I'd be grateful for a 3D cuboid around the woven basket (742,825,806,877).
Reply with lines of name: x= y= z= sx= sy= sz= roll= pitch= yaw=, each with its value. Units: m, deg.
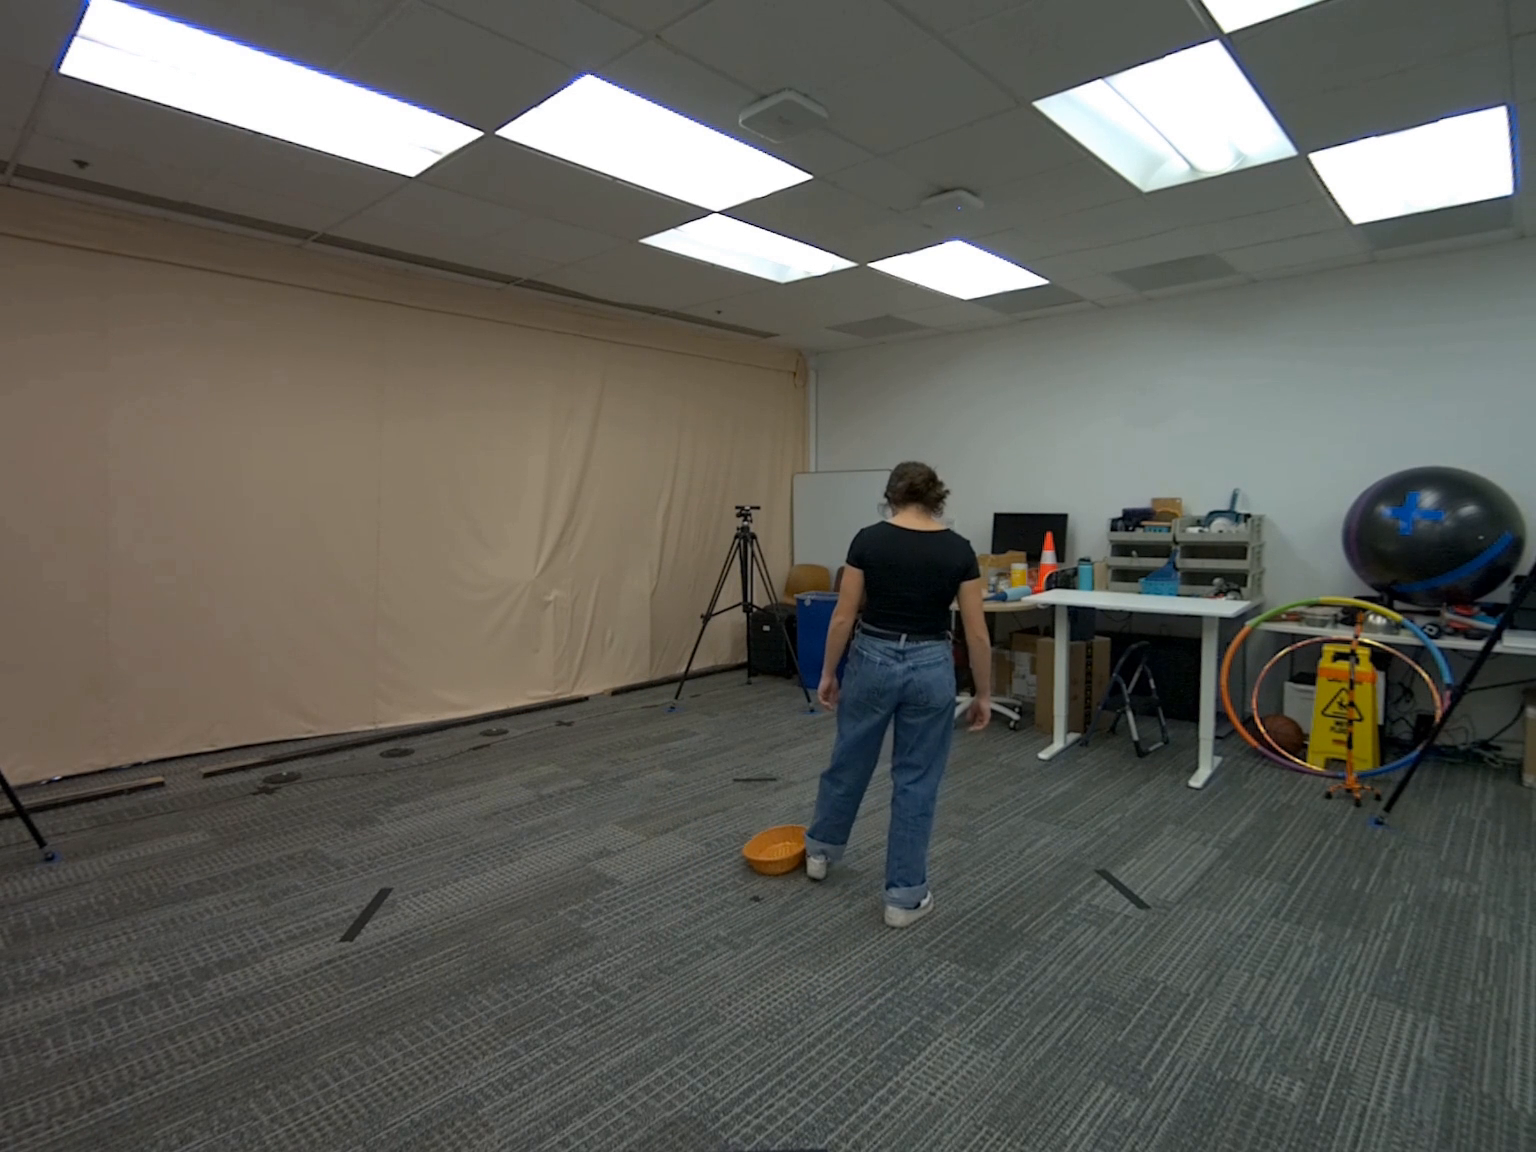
woven basket: x=0.044 y=1.074 z=3.298 sx=0.259 sy=0.073 sz=0.342 roll=-5 pitch=4 yaw=31
